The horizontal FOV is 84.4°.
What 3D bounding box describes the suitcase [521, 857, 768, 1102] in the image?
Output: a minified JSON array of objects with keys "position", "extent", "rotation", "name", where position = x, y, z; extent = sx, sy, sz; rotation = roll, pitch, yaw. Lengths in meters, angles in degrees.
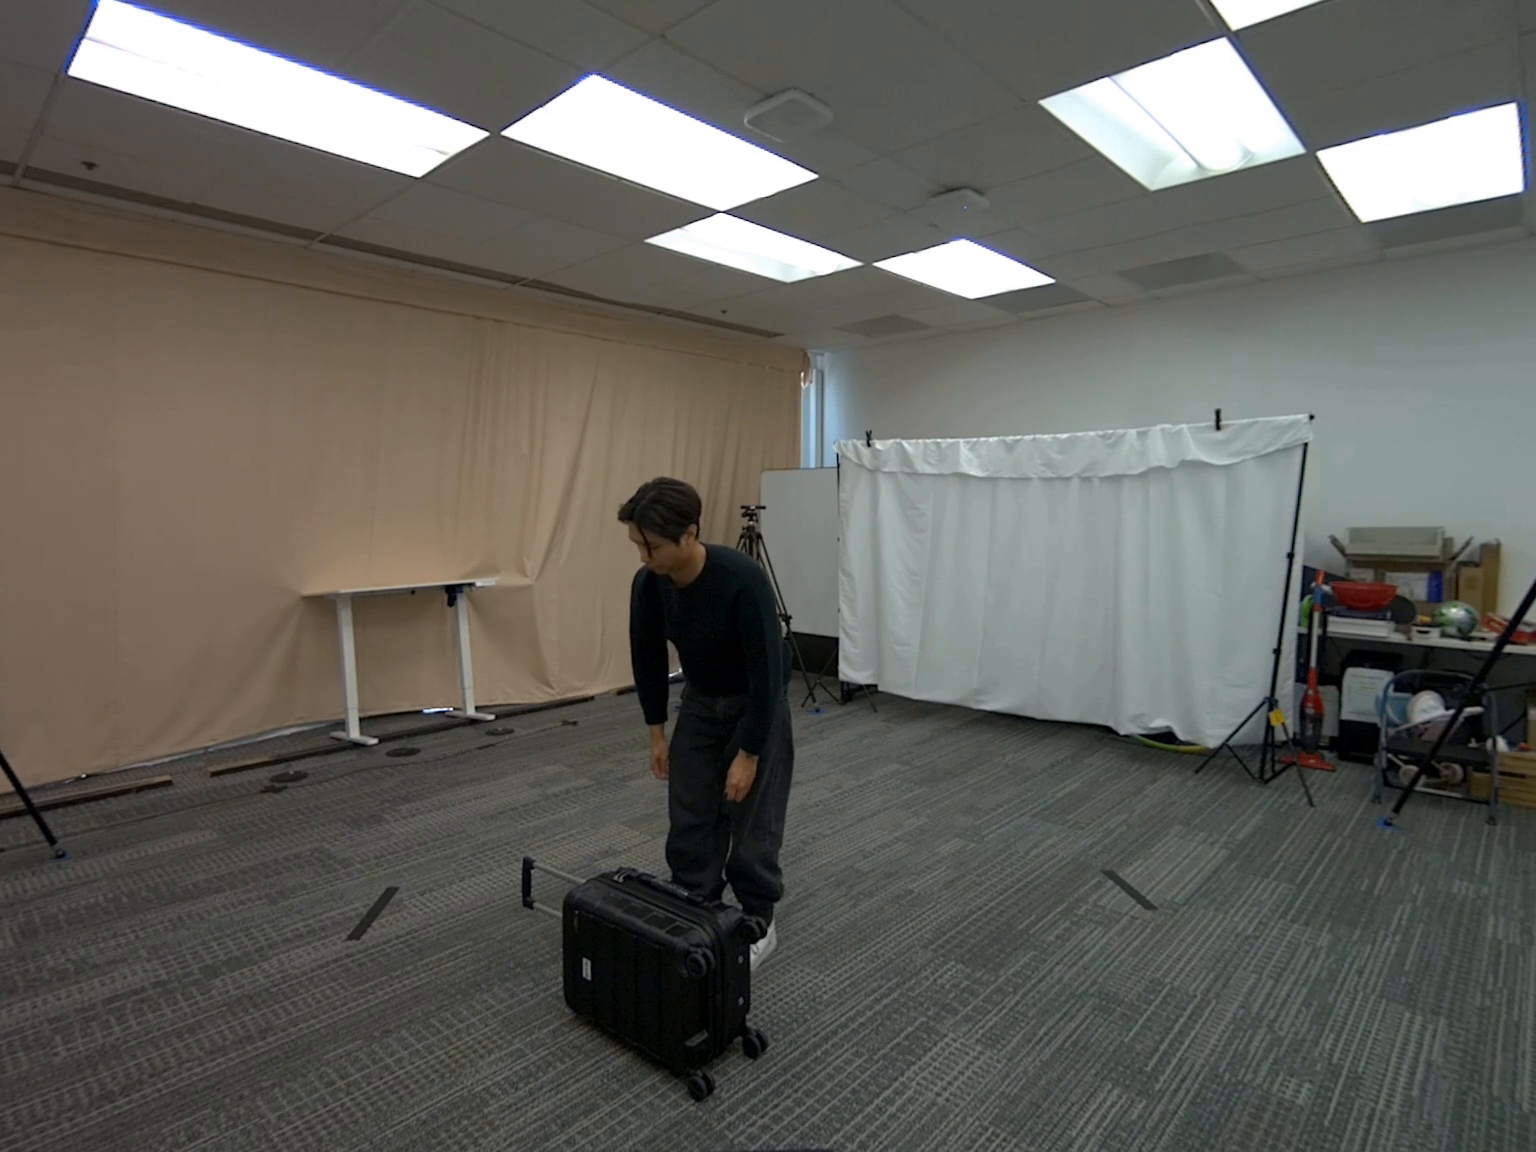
[{"position":[-0.458,1.013,2.349],"extent":[1.010,0.383,0.249],"rotation":[3,4,39],"name":"suitcase"}]
